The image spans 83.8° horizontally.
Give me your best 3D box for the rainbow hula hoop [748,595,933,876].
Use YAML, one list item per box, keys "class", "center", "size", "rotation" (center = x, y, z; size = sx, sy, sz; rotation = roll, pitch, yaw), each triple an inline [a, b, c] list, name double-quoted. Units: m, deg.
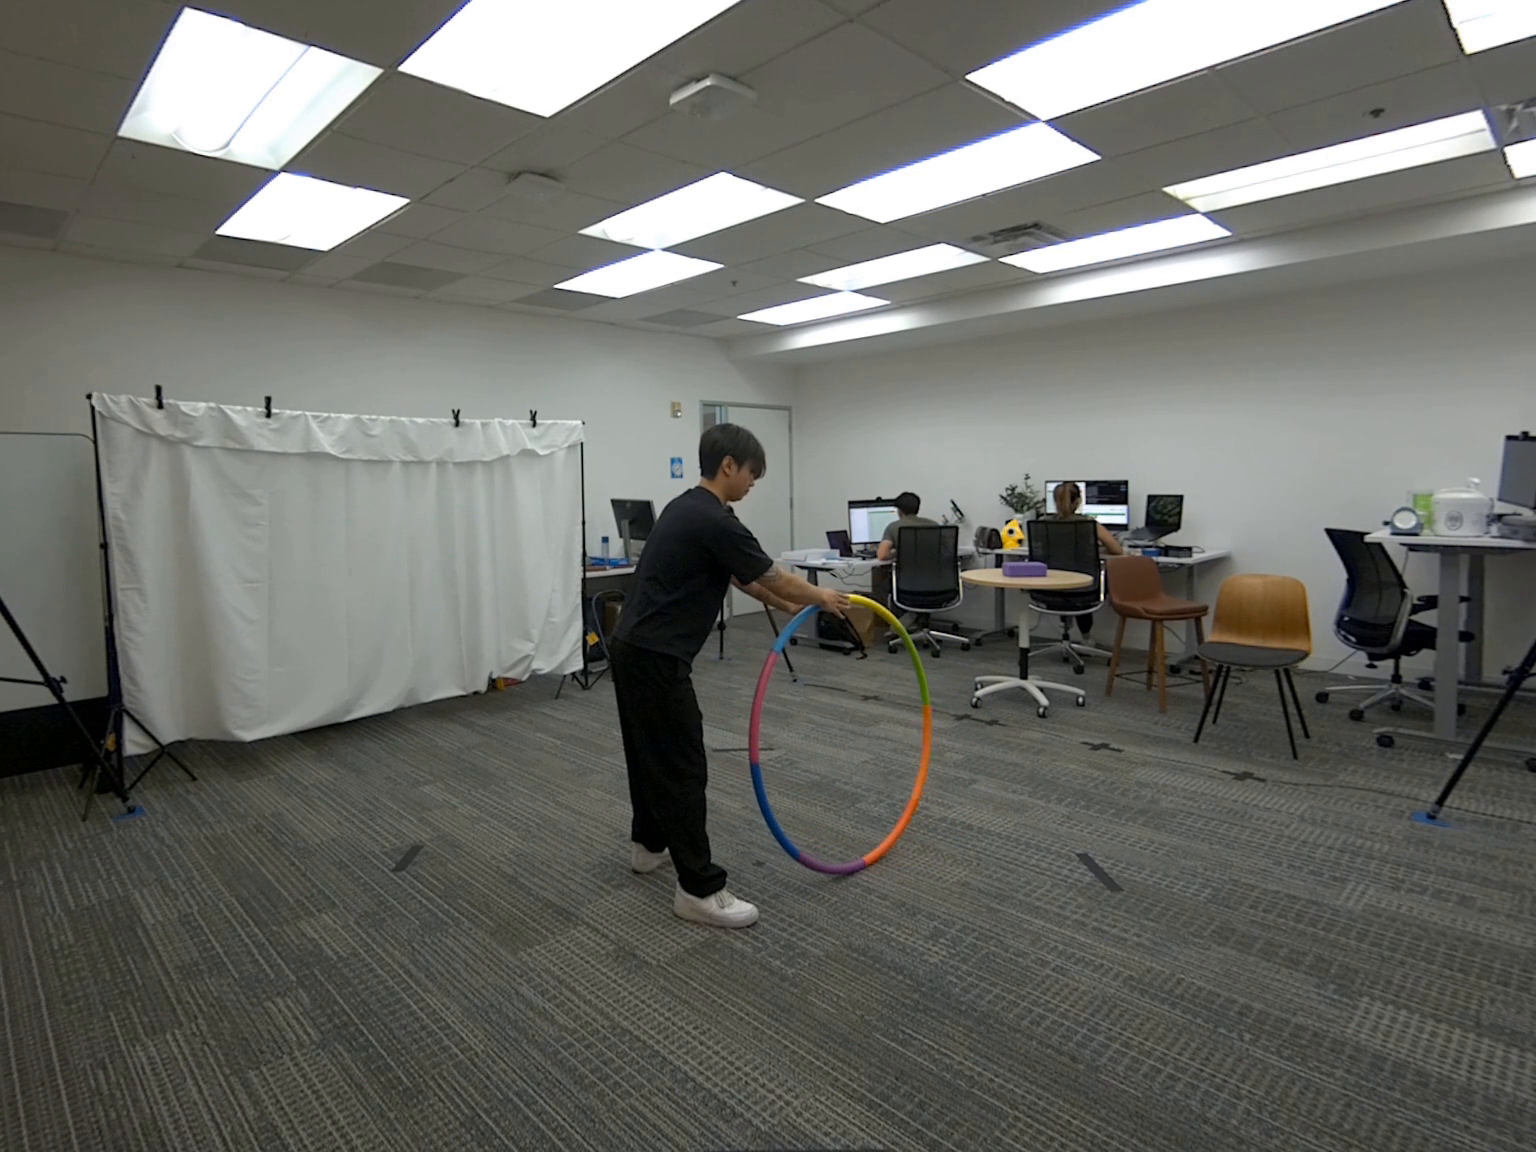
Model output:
- class: "rainbow hula hoop"
  center: [0.300, 0.561, 3.077]
  size: [0.953, 0.980, 0.036]
  rotation: [-5, -1, -44]
